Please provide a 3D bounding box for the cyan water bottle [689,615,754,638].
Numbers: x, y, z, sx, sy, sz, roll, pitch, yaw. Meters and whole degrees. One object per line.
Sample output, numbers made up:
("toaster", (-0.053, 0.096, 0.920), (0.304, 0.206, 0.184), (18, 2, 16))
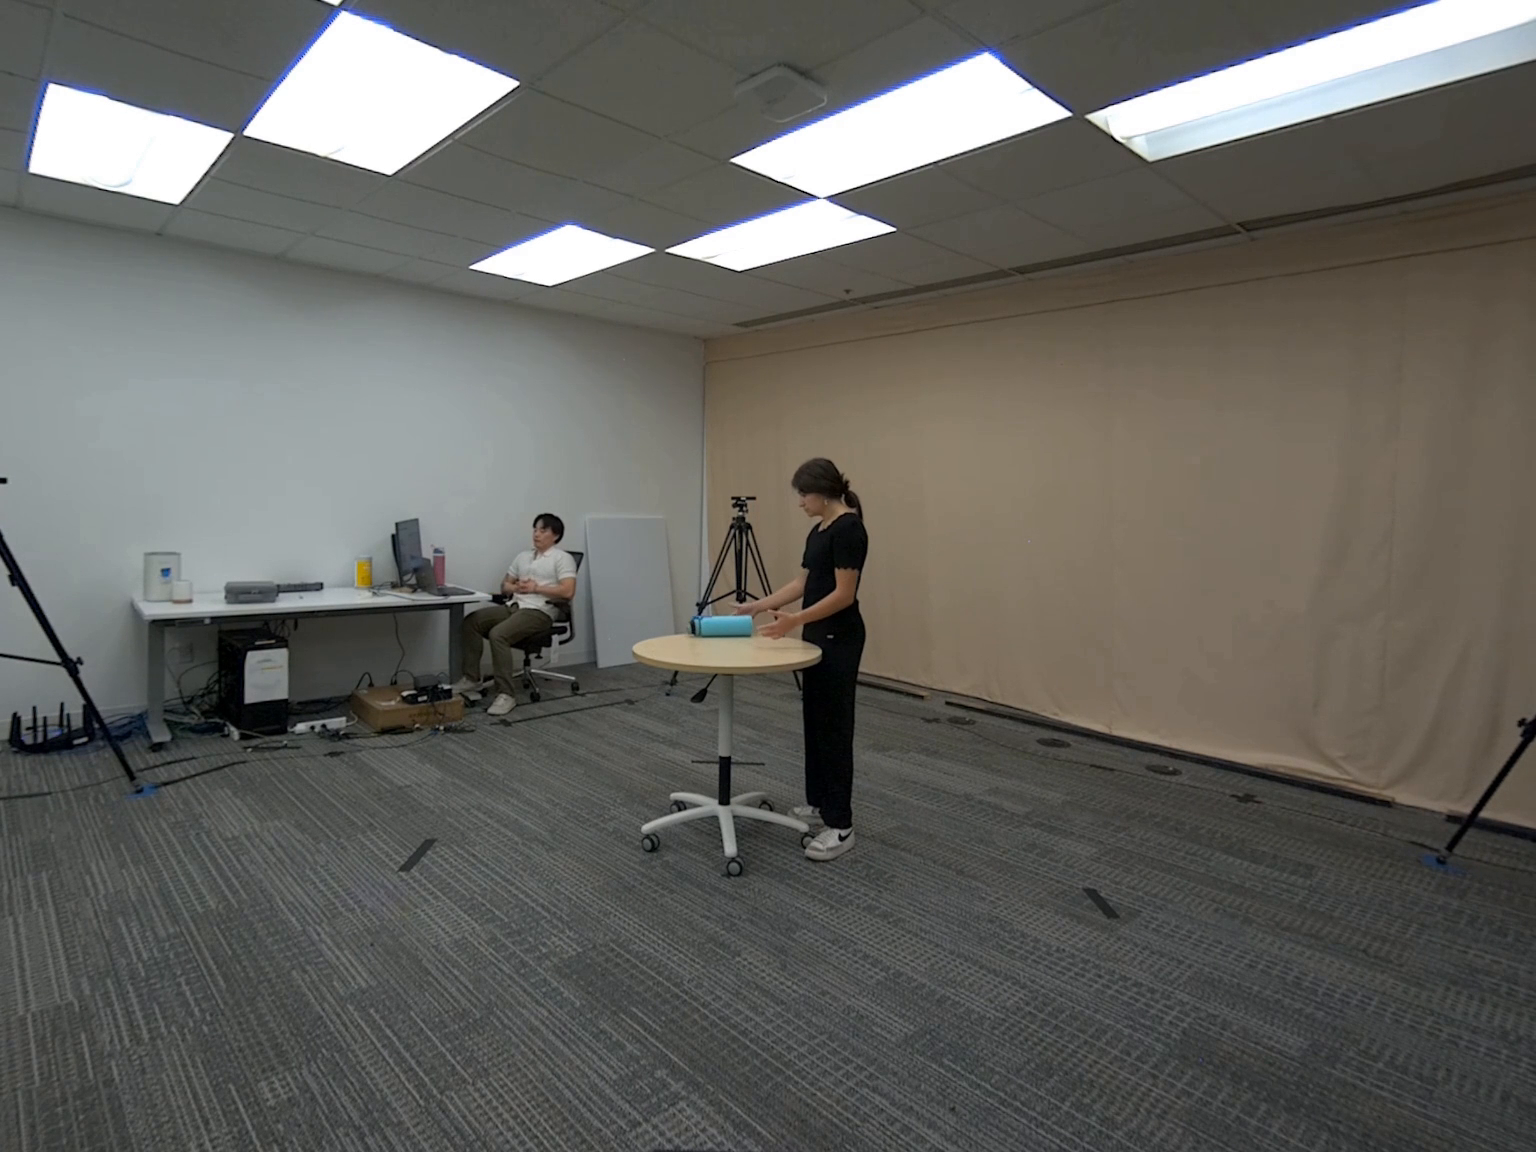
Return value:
("cyan water bottle", (-0.220, 0.219, 3.703), (0.281, 0.092, 0.093), (1, 4, -11))
